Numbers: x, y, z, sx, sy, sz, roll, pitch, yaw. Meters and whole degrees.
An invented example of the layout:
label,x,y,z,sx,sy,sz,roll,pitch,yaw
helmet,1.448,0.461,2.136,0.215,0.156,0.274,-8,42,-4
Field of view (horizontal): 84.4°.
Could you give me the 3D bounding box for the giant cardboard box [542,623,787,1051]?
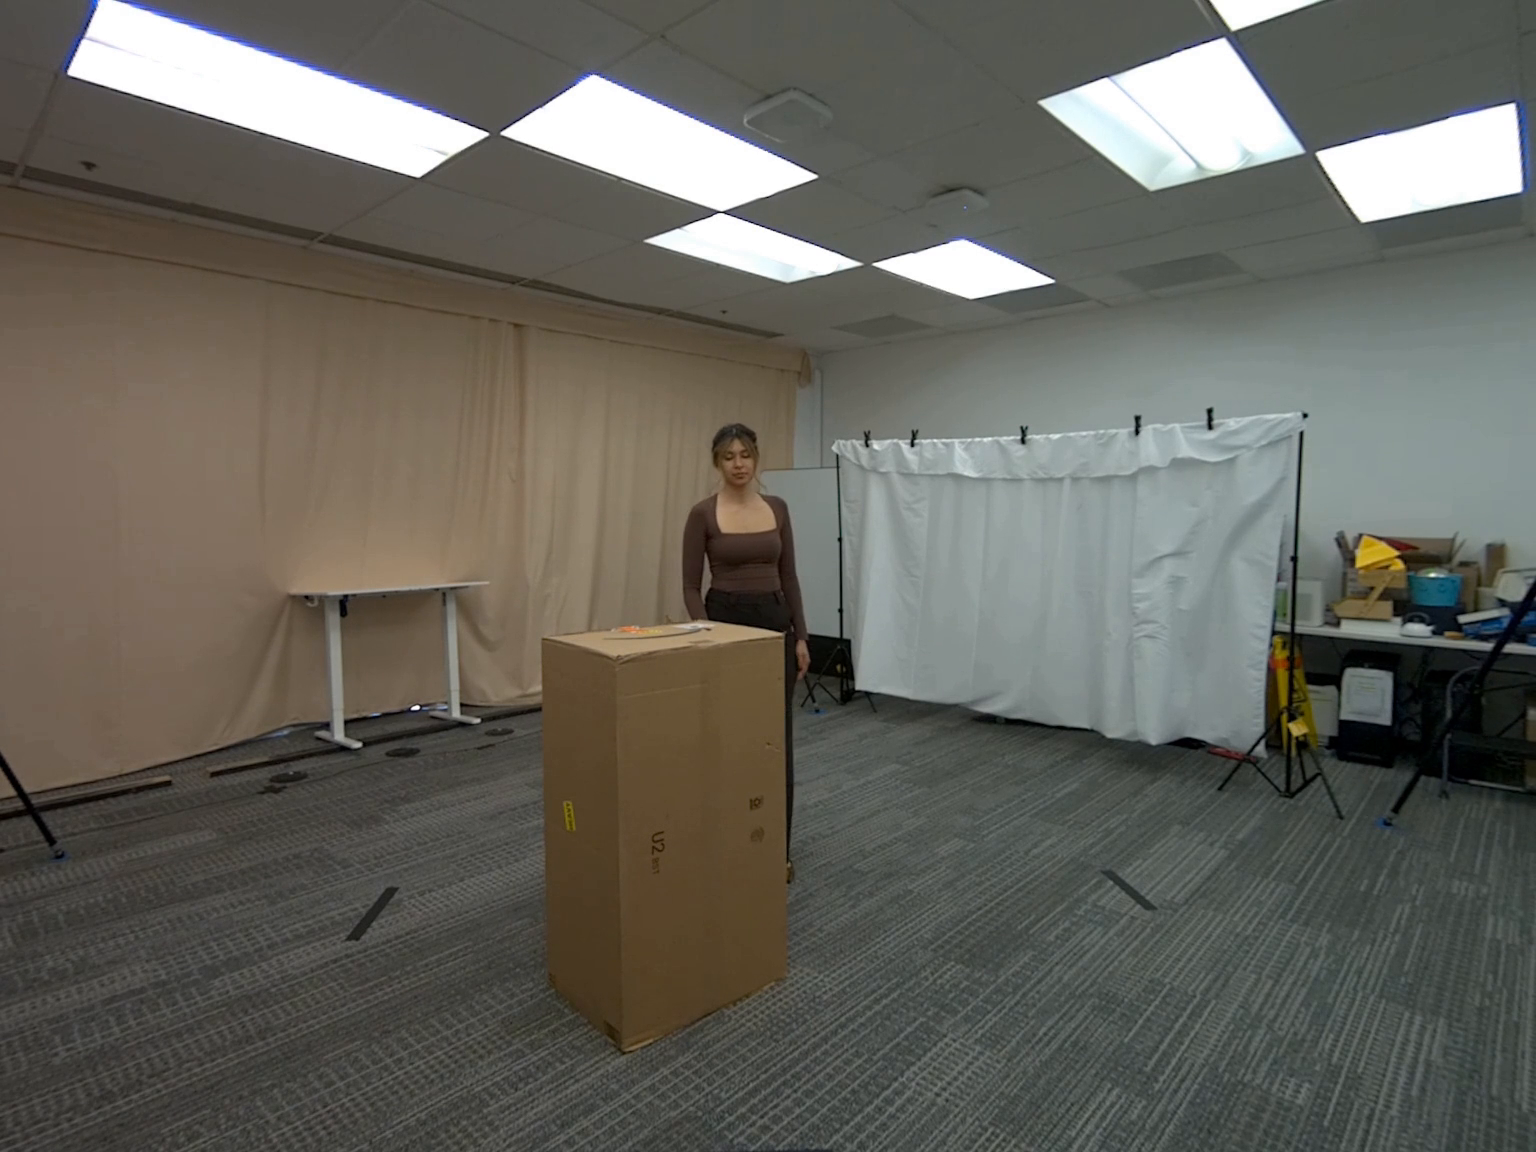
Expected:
label,x,y,z,sx,sy,sz,roll,pitch,yaw
giant cardboard box,-0.300,0.680,2.451,0.566,1.025,0.461,-3,4,-38
